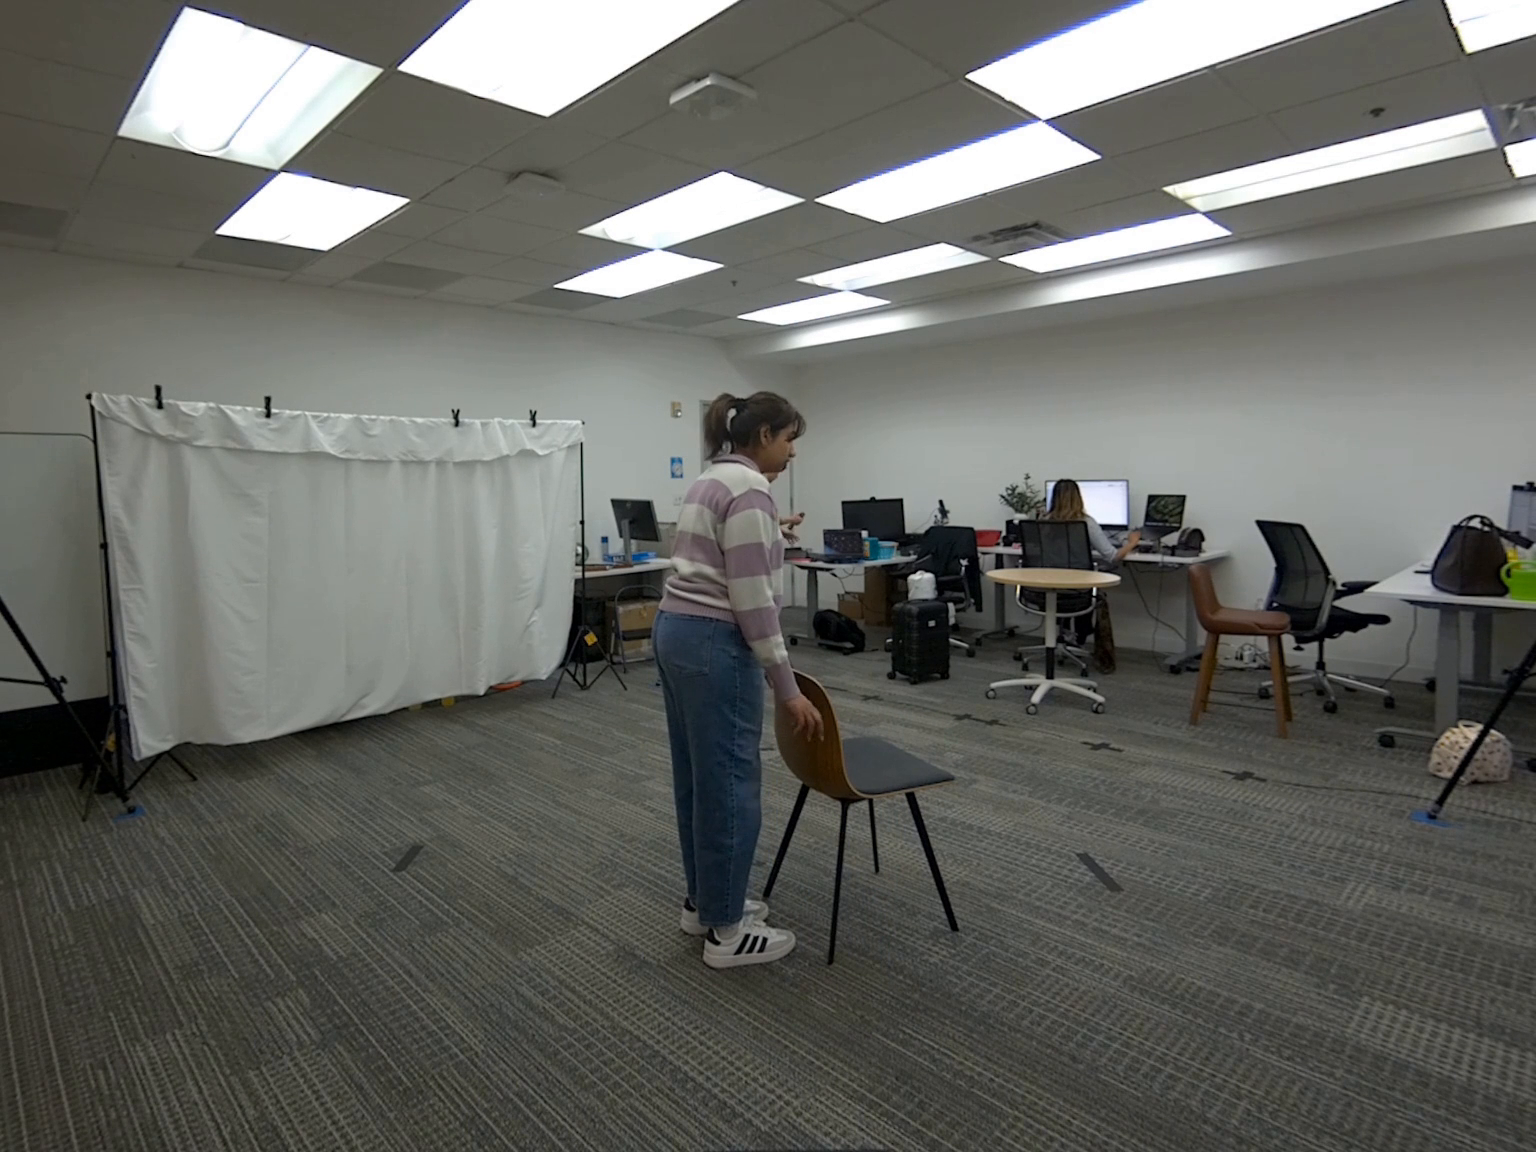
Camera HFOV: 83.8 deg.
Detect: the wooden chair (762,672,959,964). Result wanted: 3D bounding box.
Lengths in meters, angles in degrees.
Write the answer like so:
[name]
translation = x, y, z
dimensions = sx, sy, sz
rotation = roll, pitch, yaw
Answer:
[wooden chair]
translation = 0.287, 0.658, 2.717
dimensions = 0.513, 0.873, 0.489
rotation = -7, 6, -24
